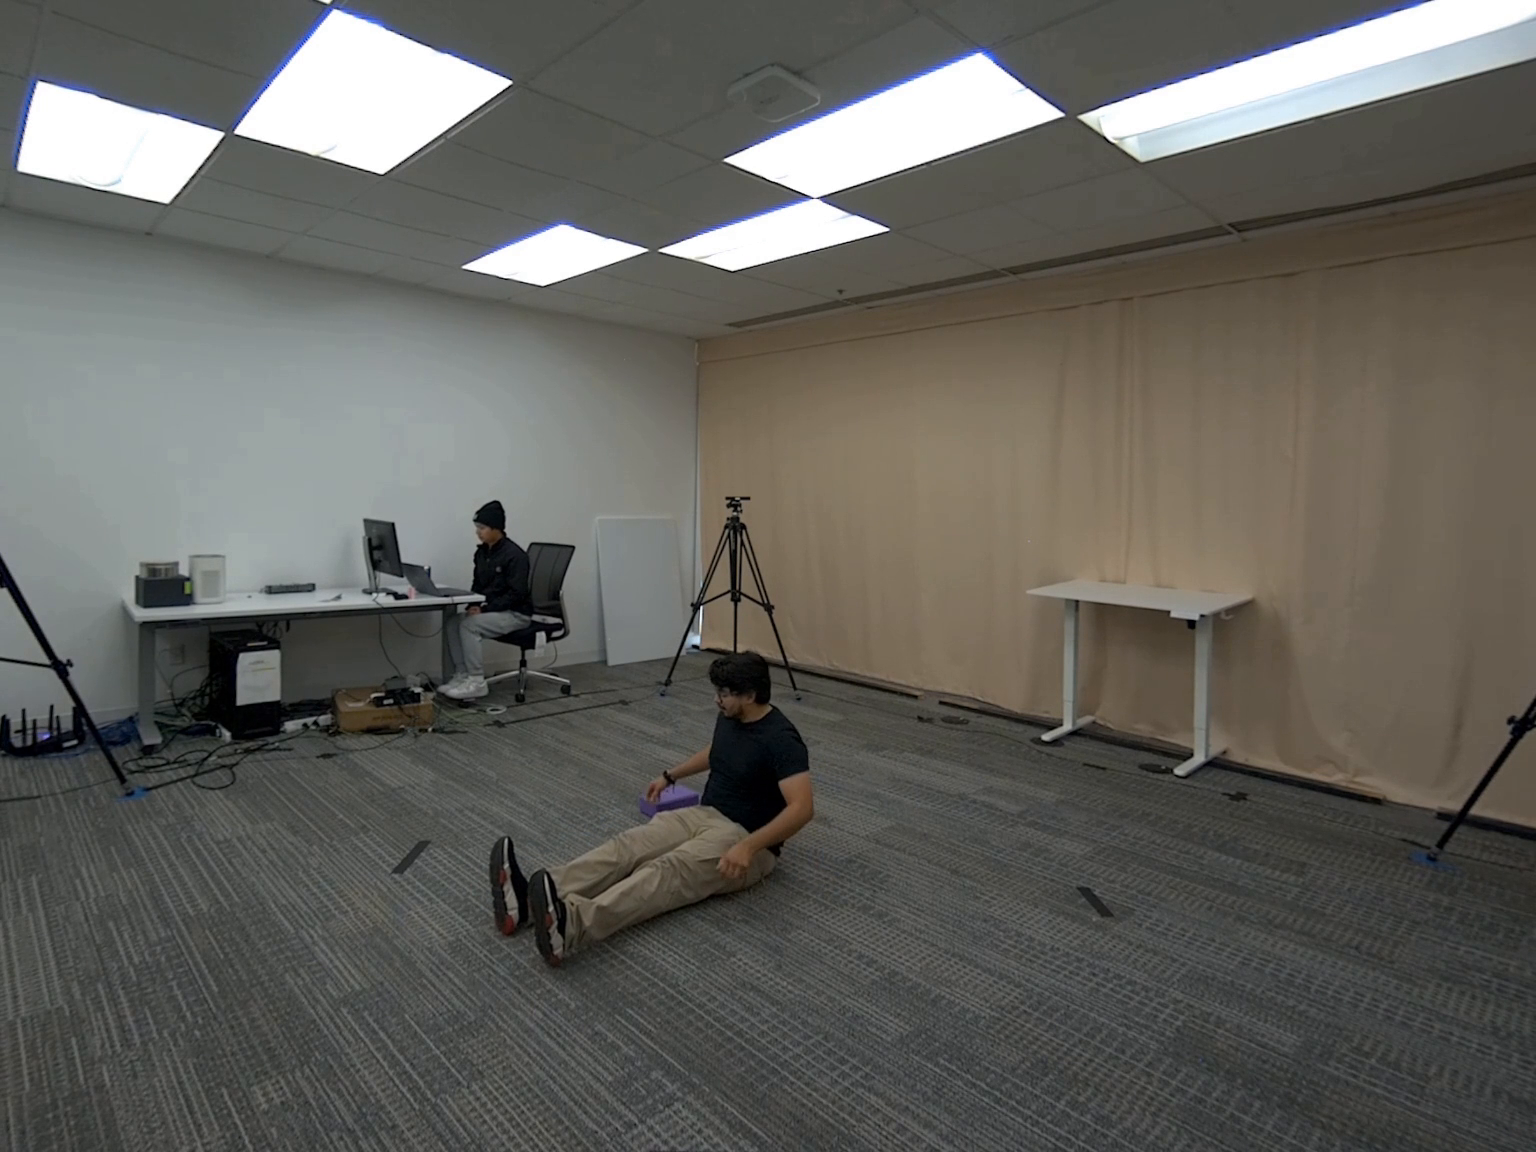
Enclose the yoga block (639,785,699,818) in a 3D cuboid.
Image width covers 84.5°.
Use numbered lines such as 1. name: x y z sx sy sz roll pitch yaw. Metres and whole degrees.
1. yoga block: -0.449 1.004 3.742 0.224 0.076 0.153 -3 5 -41
